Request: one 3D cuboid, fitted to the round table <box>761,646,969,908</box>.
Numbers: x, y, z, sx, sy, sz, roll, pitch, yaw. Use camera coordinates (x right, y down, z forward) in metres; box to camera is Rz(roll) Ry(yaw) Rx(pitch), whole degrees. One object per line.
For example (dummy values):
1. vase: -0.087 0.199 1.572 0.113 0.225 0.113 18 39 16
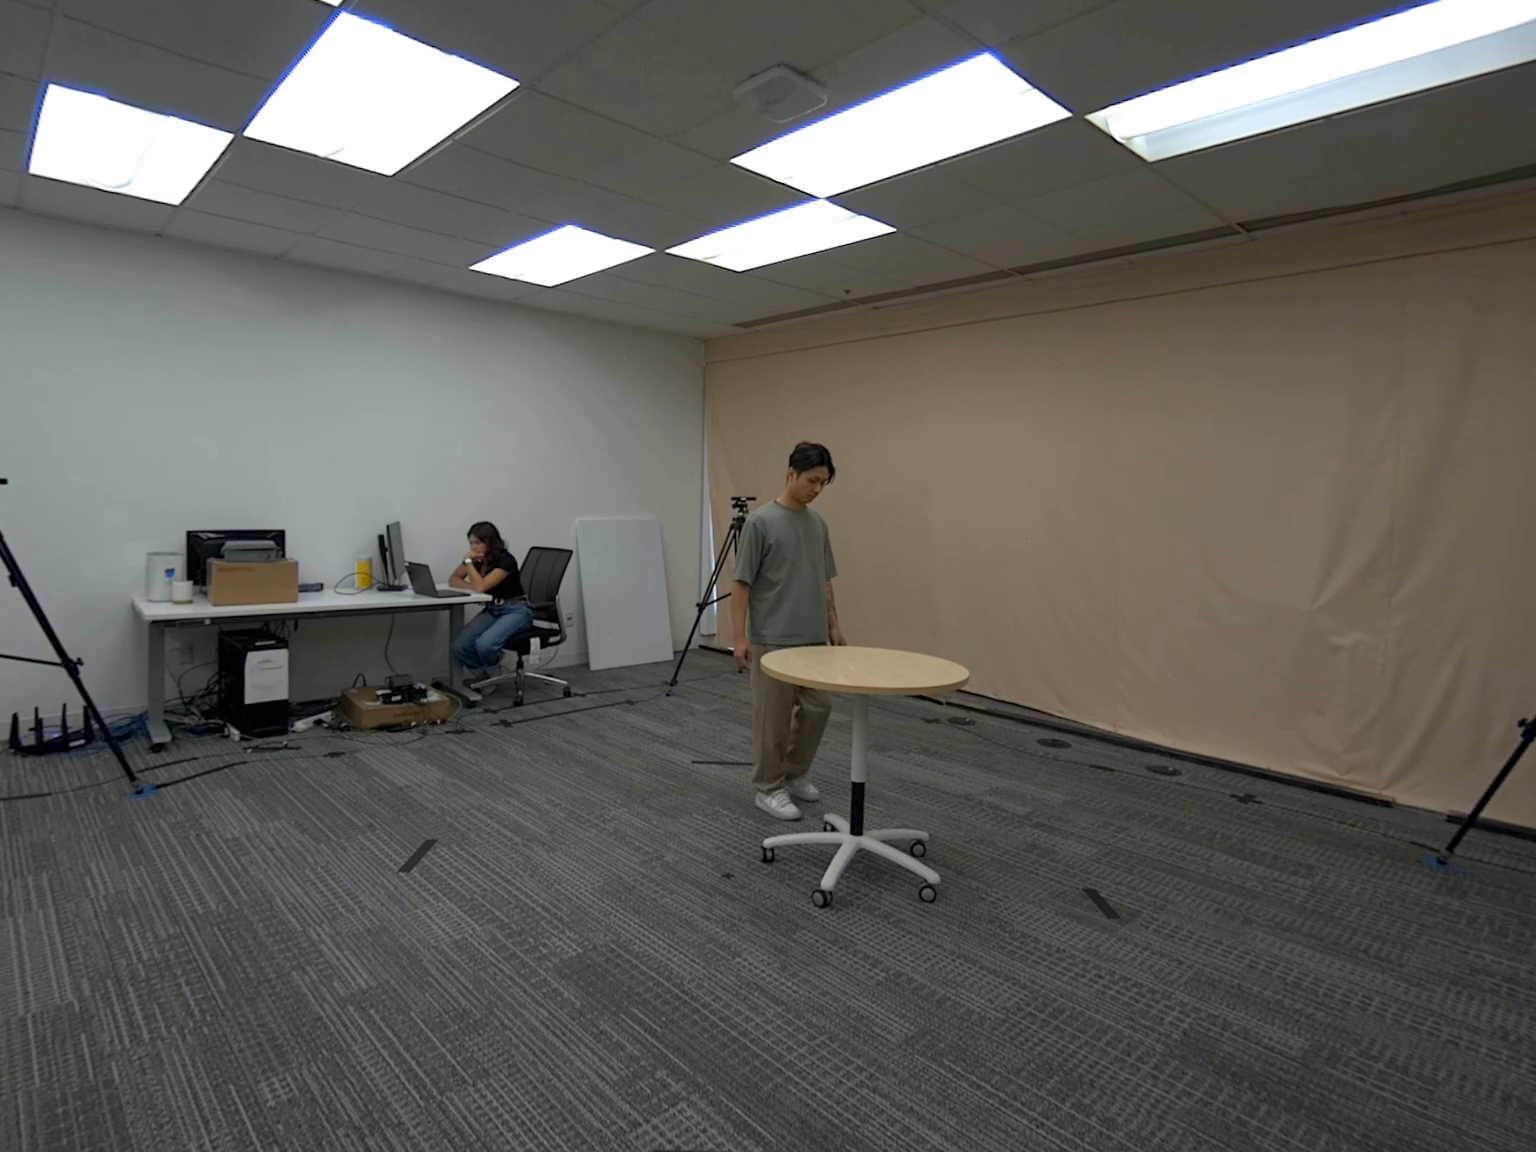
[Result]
1. round table: 0.348 0.722 3.160 0.784 0.784 0.788 2 4 -1
